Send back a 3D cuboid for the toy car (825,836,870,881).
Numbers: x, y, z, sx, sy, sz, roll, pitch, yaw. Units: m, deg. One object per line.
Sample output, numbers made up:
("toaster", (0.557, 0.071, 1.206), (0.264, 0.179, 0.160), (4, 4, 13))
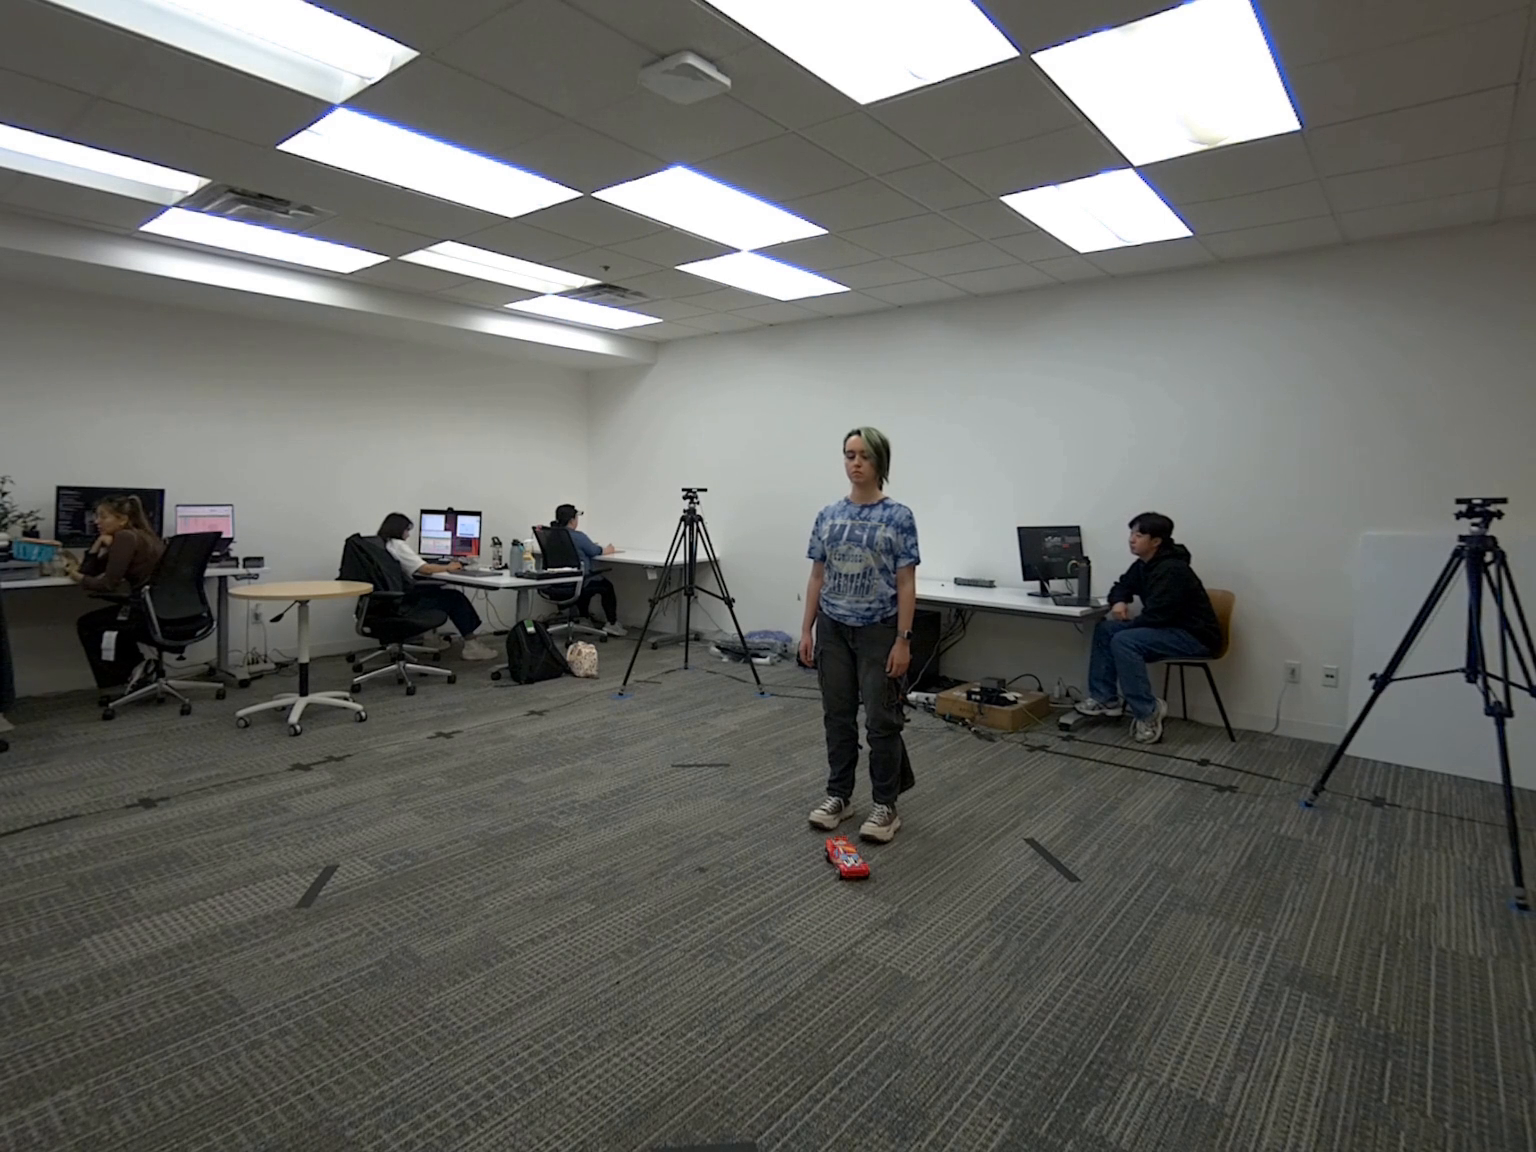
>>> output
("toy car", (0.282, 1.045, 3.156), (0.129, 0.082, 0.261), (-2, 17, -11))
